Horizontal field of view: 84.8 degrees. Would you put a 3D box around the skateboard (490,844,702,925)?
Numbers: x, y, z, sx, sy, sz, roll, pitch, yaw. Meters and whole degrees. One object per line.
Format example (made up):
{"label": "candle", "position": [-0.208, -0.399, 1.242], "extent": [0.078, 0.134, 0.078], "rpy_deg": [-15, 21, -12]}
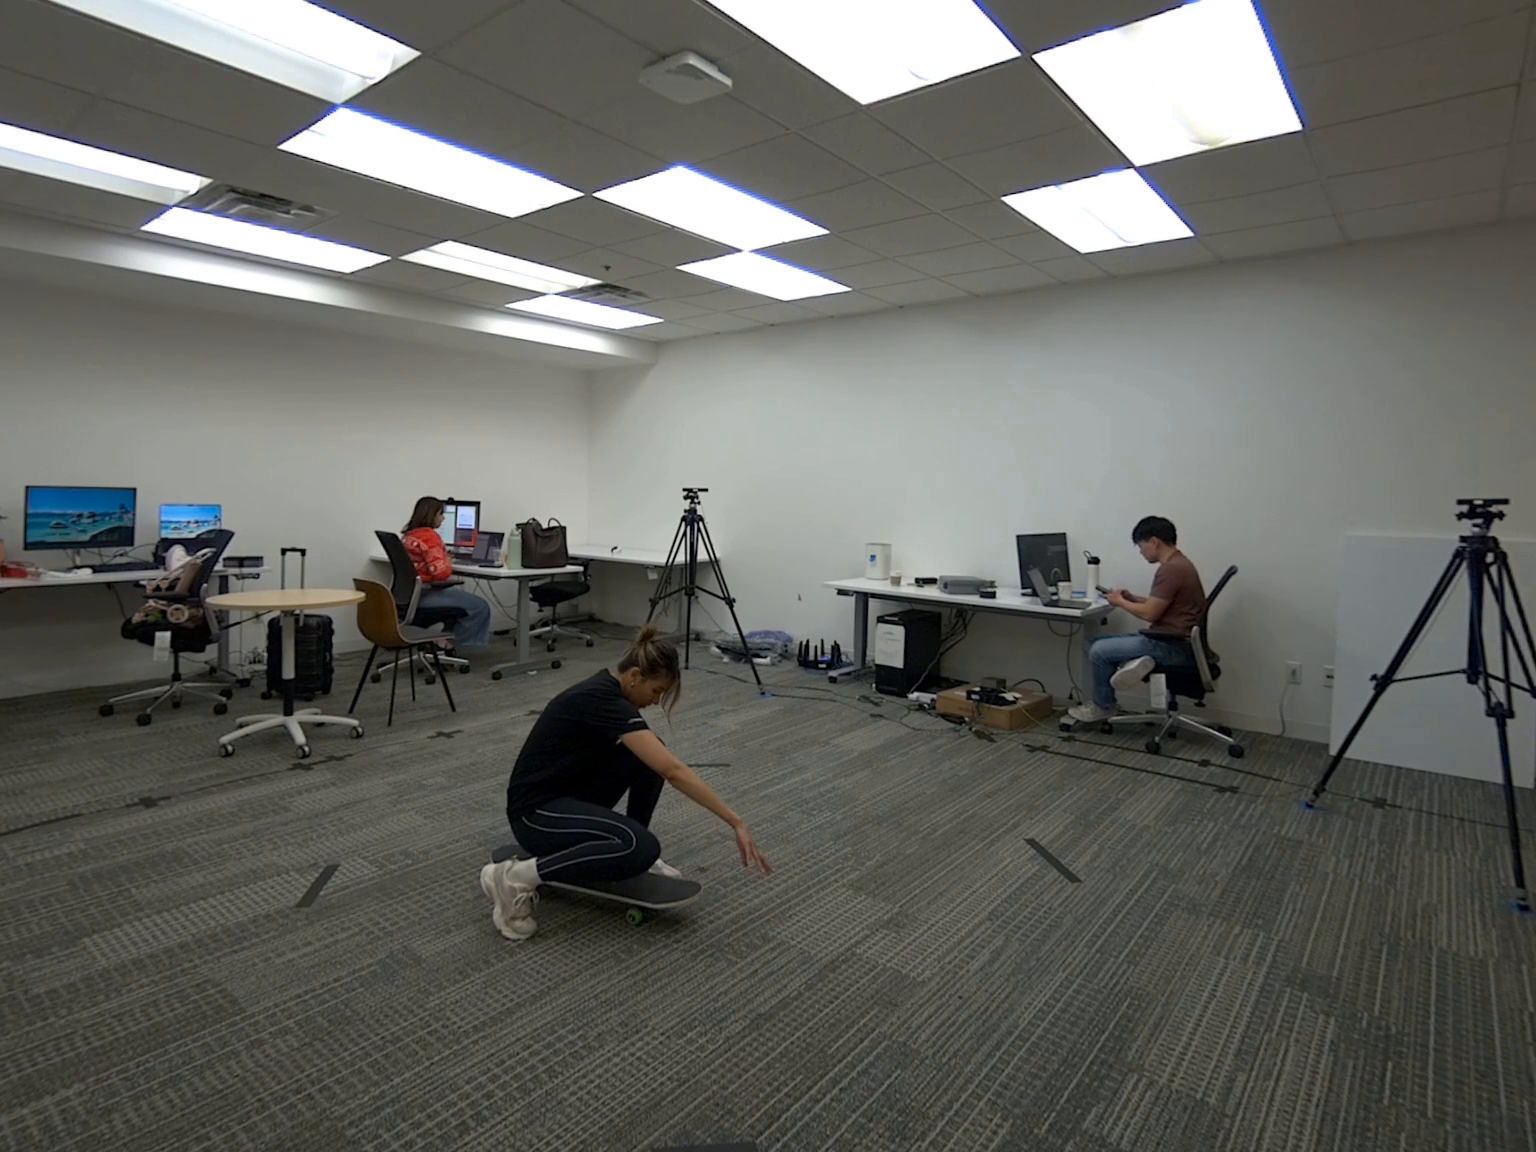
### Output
{"label": "skateboard", "position": [-0.595, 1.019, 2.844], "extent": [0.804, 0.110, 0.190], "rpy_deg": [2, 7, 23]}
